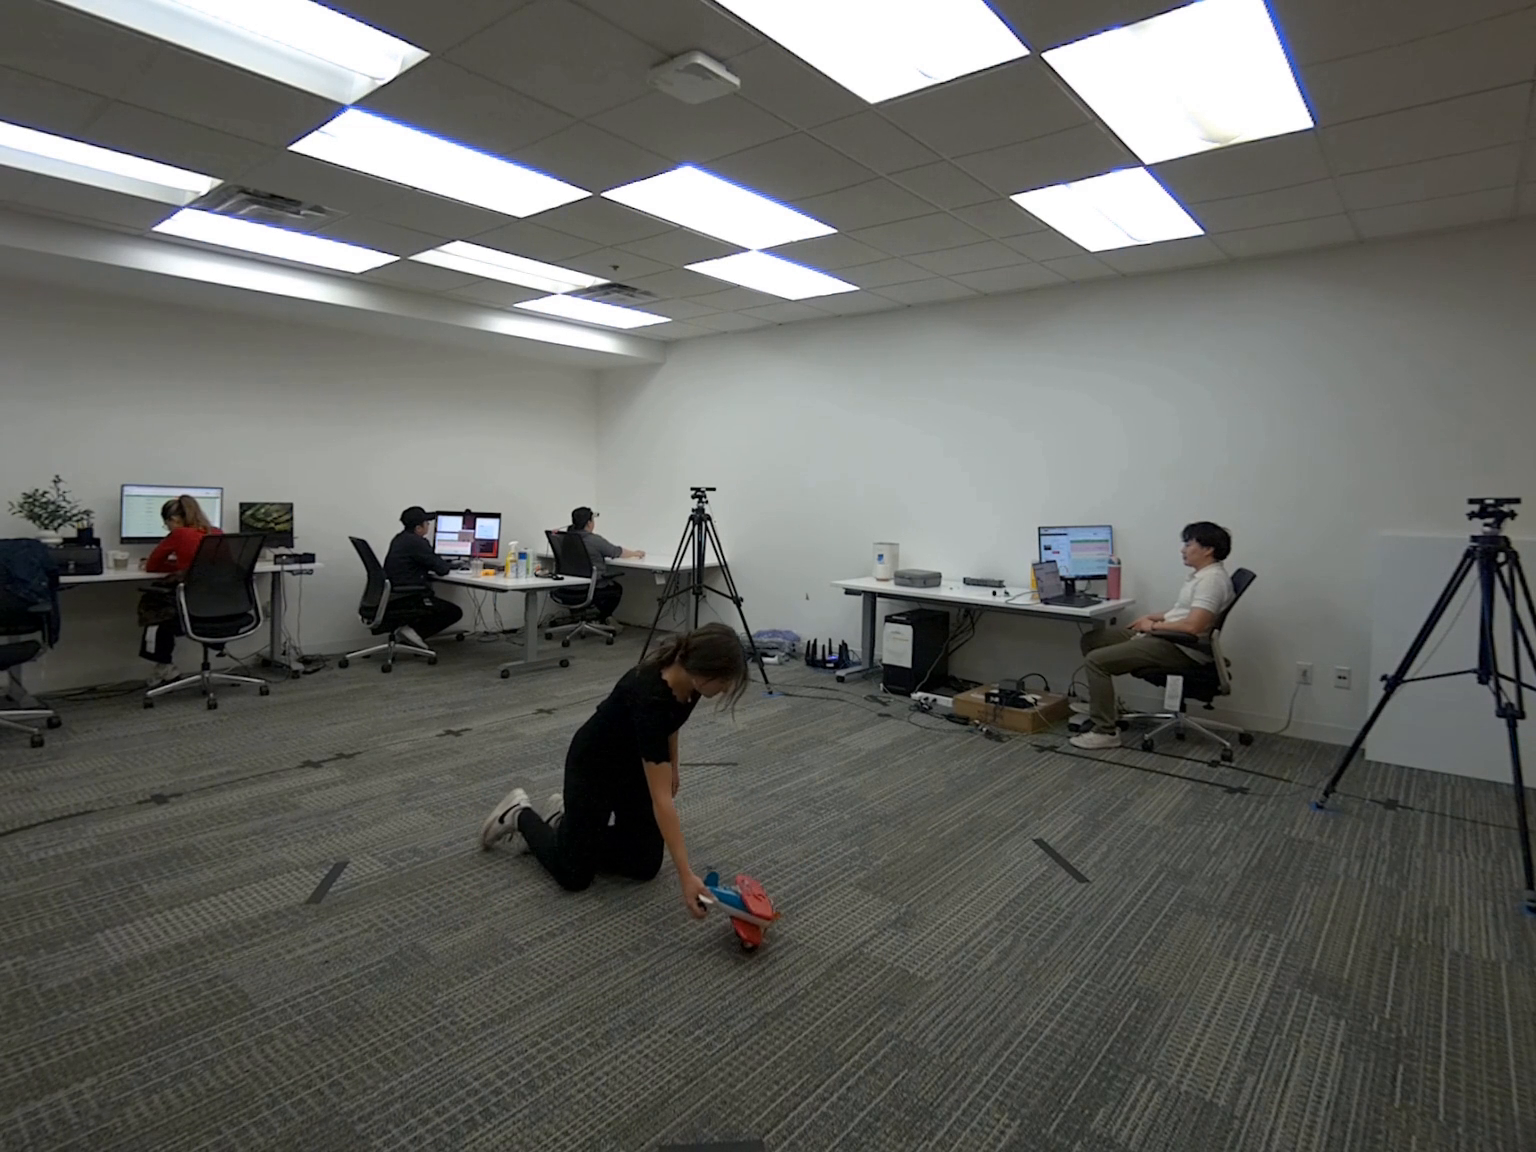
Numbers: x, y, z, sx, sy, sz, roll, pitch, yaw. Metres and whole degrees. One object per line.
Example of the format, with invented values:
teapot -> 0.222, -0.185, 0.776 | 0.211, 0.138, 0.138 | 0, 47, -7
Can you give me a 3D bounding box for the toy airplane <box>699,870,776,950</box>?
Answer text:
toy airplane -> -0.103, 1.008, 2.563 | 0.262, 0.156, 0.248 | 32, -8, 48
